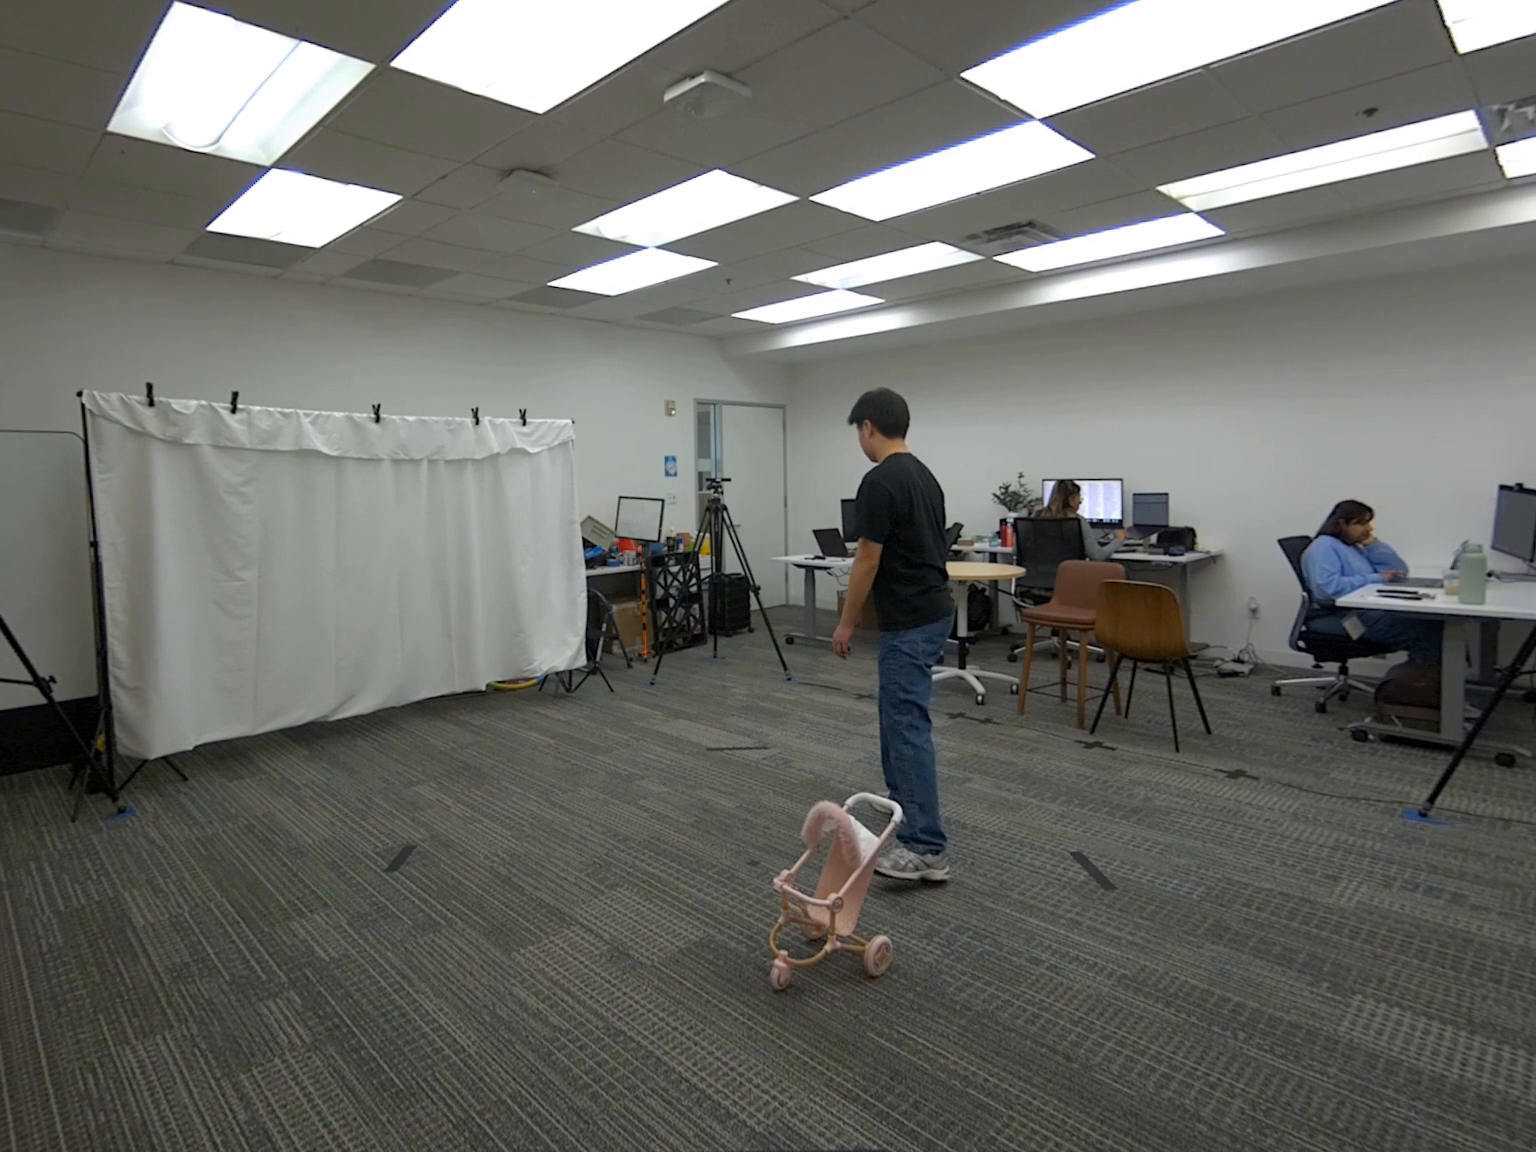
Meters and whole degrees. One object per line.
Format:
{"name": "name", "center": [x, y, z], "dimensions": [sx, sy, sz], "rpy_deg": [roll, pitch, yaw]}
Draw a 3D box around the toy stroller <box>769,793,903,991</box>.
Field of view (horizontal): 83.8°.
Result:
{"name": "toy stroller", "center": [0.178, 0.892, 2.445], "dimensions": [0.330, 0.537, 0.289], "rpy_deg": [15, -7, -35]}
